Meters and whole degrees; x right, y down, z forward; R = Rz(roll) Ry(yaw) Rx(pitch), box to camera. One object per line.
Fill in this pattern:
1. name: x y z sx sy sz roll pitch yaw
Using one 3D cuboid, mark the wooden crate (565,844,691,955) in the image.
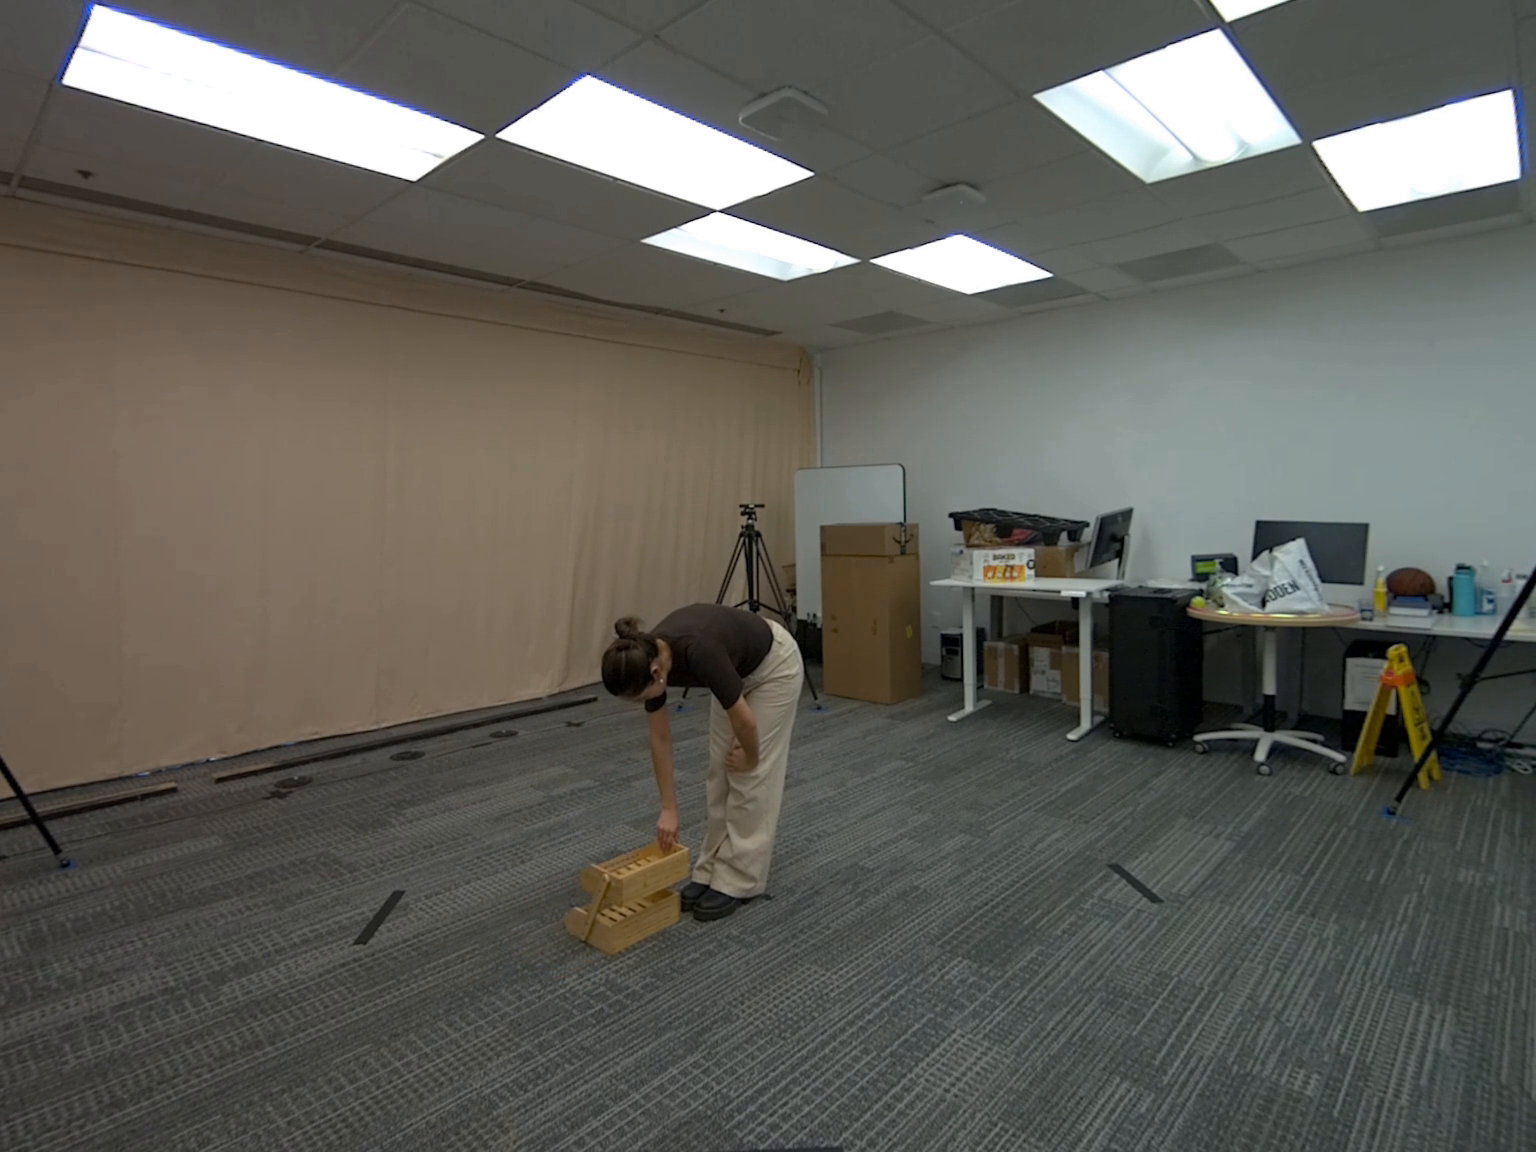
1. wooden crate: -0.467 1.031 2.782 0.312 0.272 0.314 4 6 42
